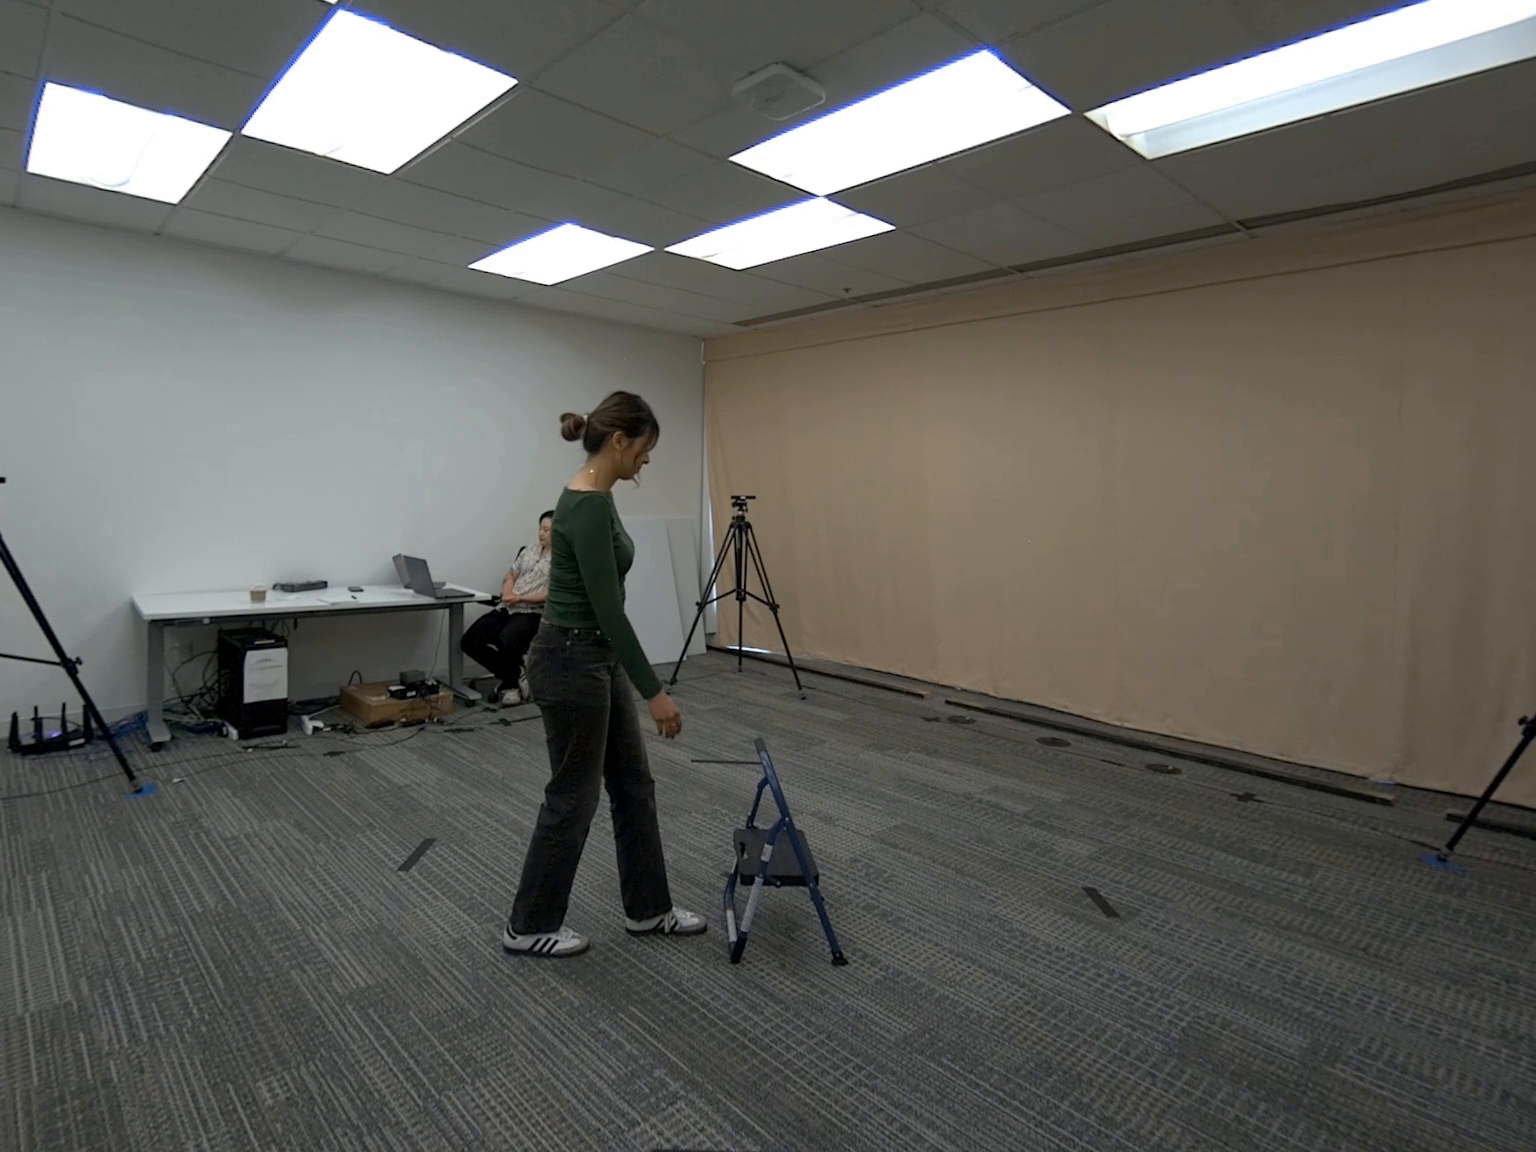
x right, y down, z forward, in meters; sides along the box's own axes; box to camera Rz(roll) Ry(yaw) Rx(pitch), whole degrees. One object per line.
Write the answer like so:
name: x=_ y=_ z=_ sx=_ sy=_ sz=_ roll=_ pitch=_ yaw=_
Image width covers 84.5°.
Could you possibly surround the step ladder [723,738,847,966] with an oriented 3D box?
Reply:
step ladder: x=0.035 y=0.843 z=2.701 sx=0.348 sy=0.604 sz=0.433 roll=1 pitch=4 yaw=-6
